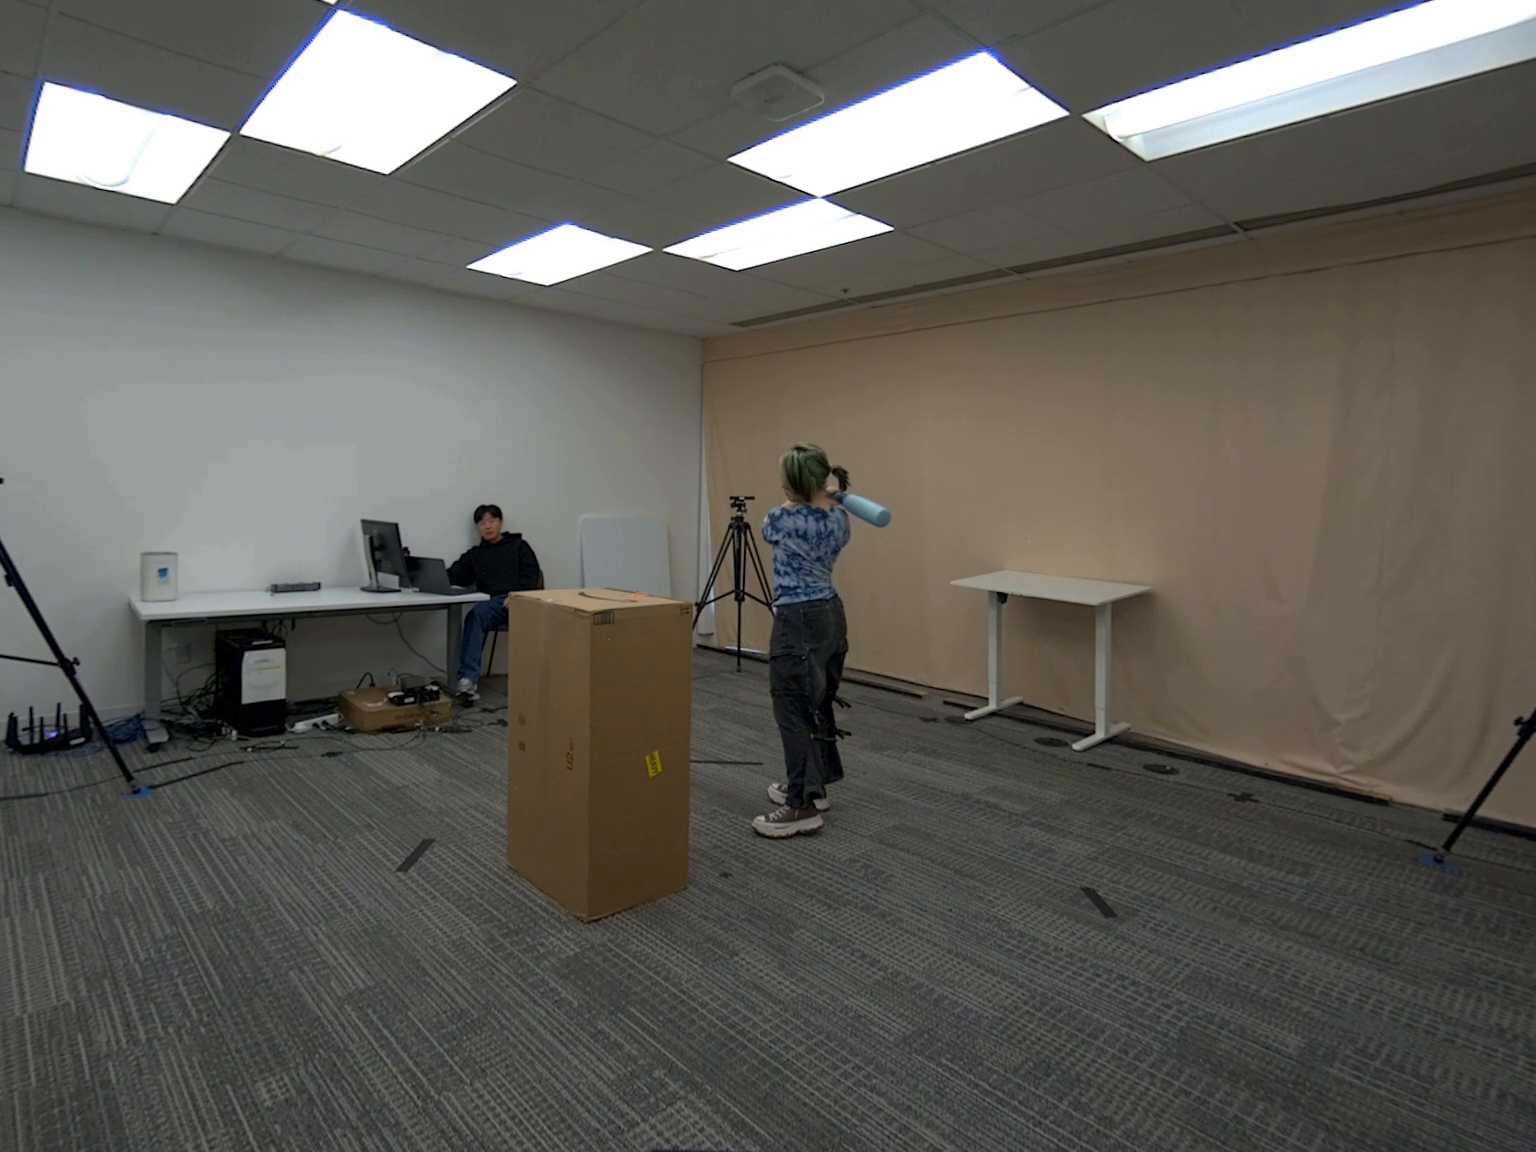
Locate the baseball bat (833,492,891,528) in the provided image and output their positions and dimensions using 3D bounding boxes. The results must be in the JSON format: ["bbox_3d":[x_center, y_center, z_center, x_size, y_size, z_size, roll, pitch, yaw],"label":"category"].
[{"bbox_3d":[0.333,-0.333,3.721,0.087,0.088,0.560,-1,21,-31],"label":"baseball bat"}]
